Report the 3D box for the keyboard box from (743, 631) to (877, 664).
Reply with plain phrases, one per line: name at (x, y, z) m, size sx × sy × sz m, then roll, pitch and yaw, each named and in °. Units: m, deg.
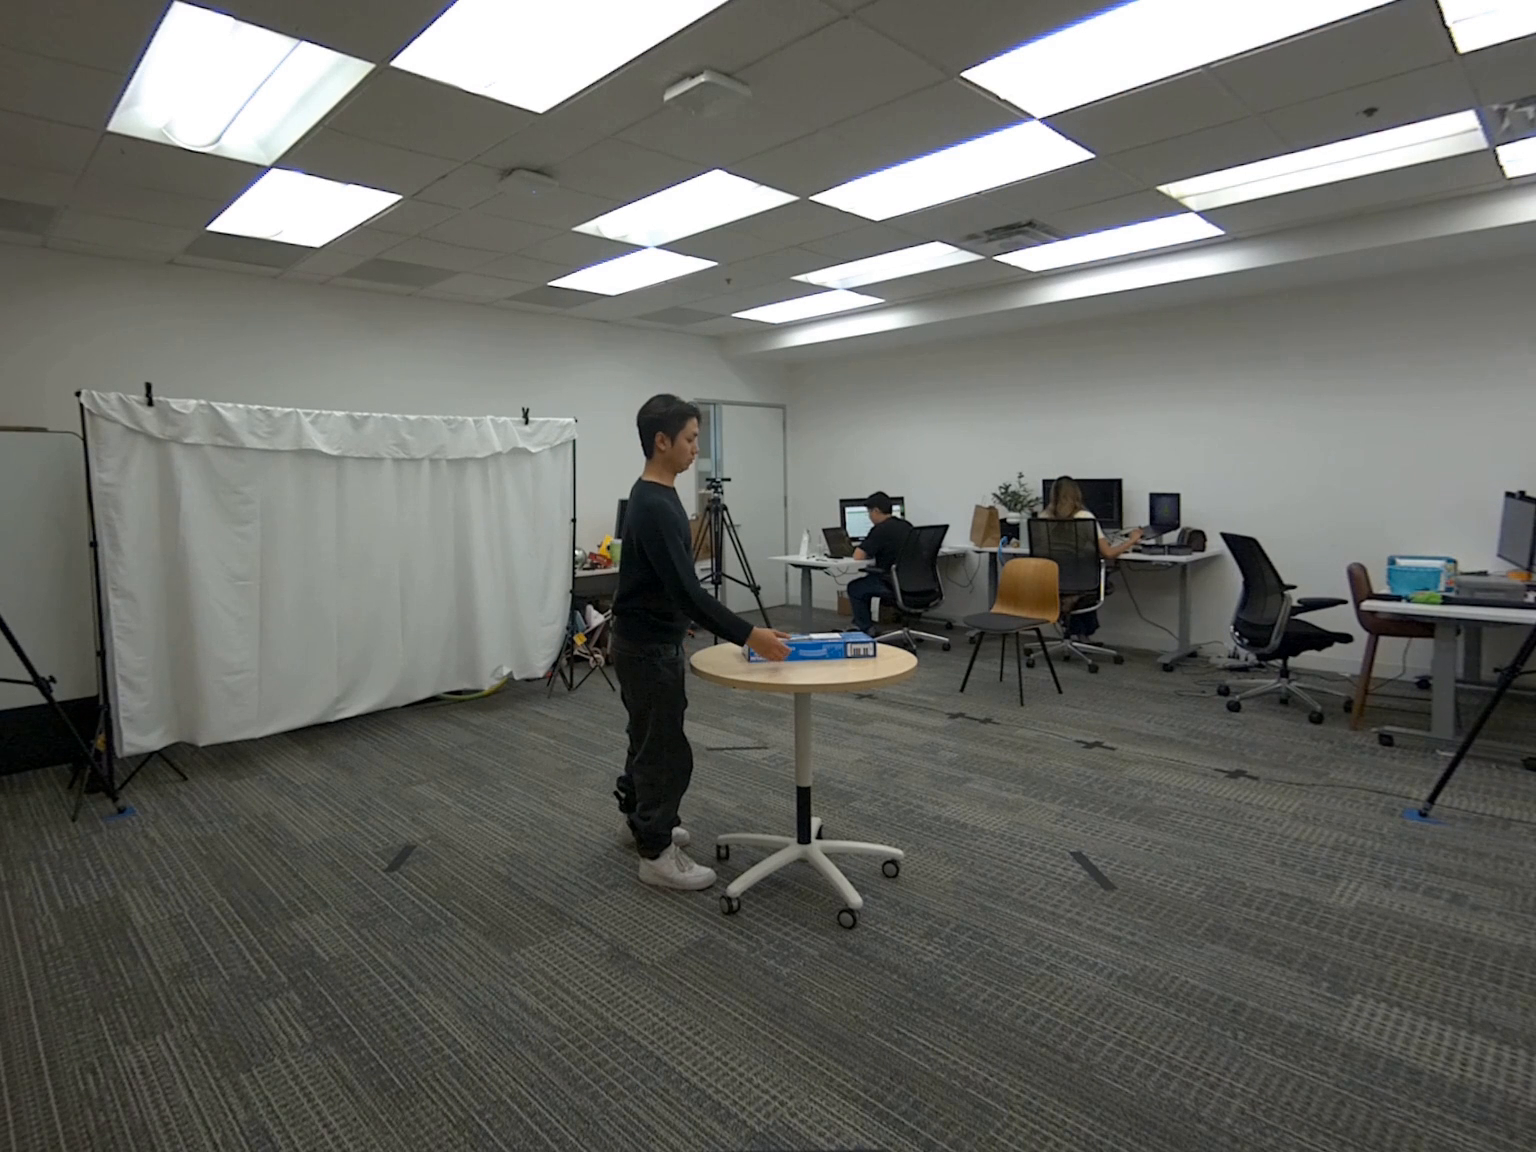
keyboard box at (0.140, 0.243, 2.947) m, size 0.434 × 0.059 × 0.178 m, roll -2°, pitch 6°, yaw -7°
